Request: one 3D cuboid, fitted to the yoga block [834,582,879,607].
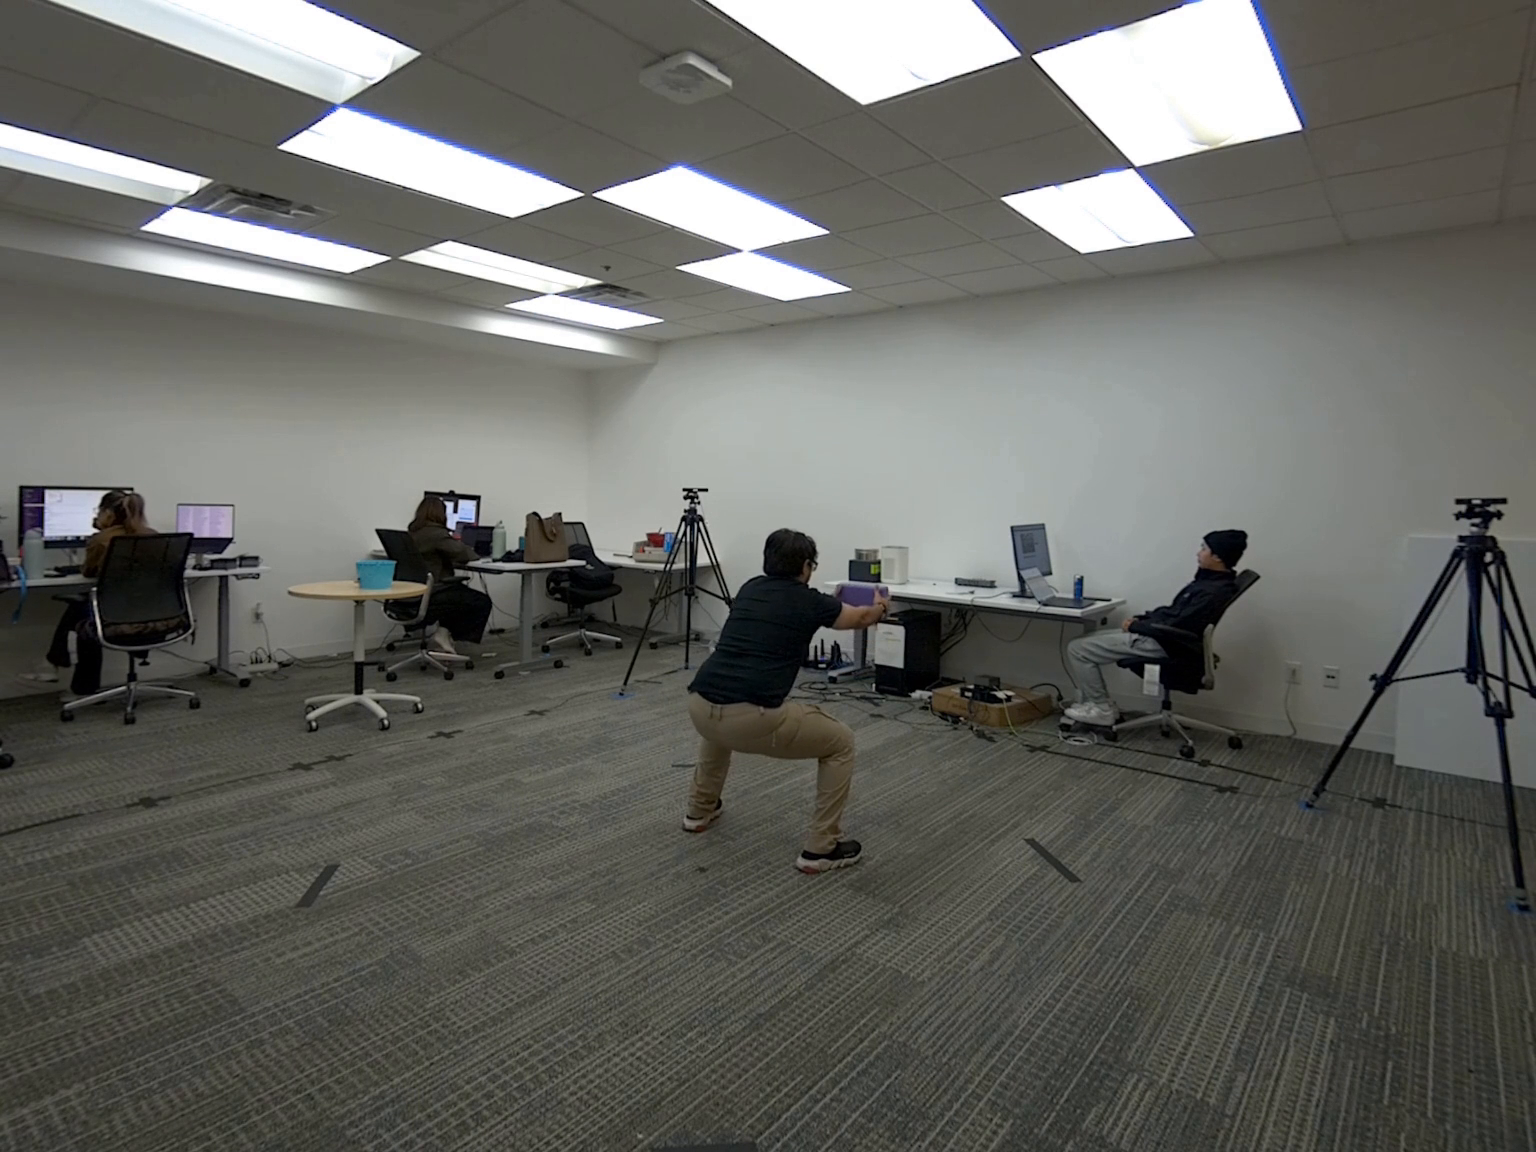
[{"bbox_3d":[0.408,0.103,3.855,0.236,0.148,0.074,3,3,28],"label":"yoga block"}]
